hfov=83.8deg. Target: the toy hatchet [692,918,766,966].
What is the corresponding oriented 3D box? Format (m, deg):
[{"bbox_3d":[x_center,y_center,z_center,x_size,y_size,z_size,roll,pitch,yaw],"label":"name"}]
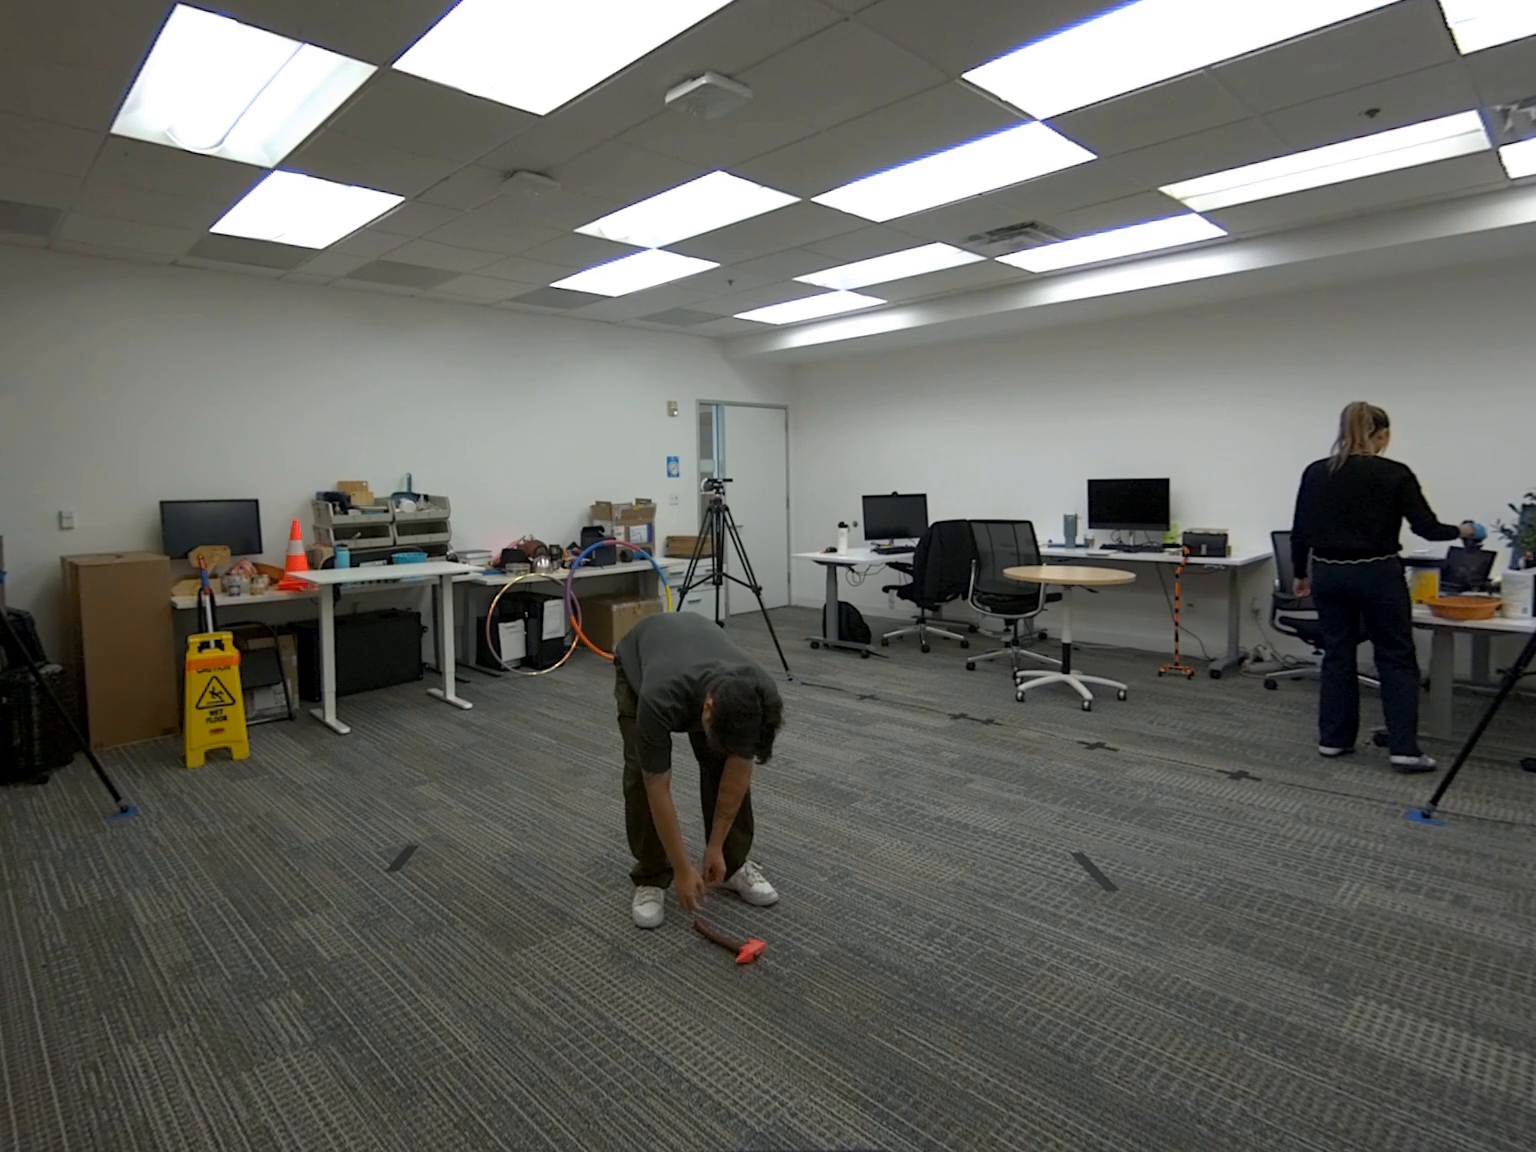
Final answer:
[{"bbox_3d":[-0.106,1.099,2.584,0.128,0.029,0.277,-7,6,-31],"label":"toy hatchet"}]
